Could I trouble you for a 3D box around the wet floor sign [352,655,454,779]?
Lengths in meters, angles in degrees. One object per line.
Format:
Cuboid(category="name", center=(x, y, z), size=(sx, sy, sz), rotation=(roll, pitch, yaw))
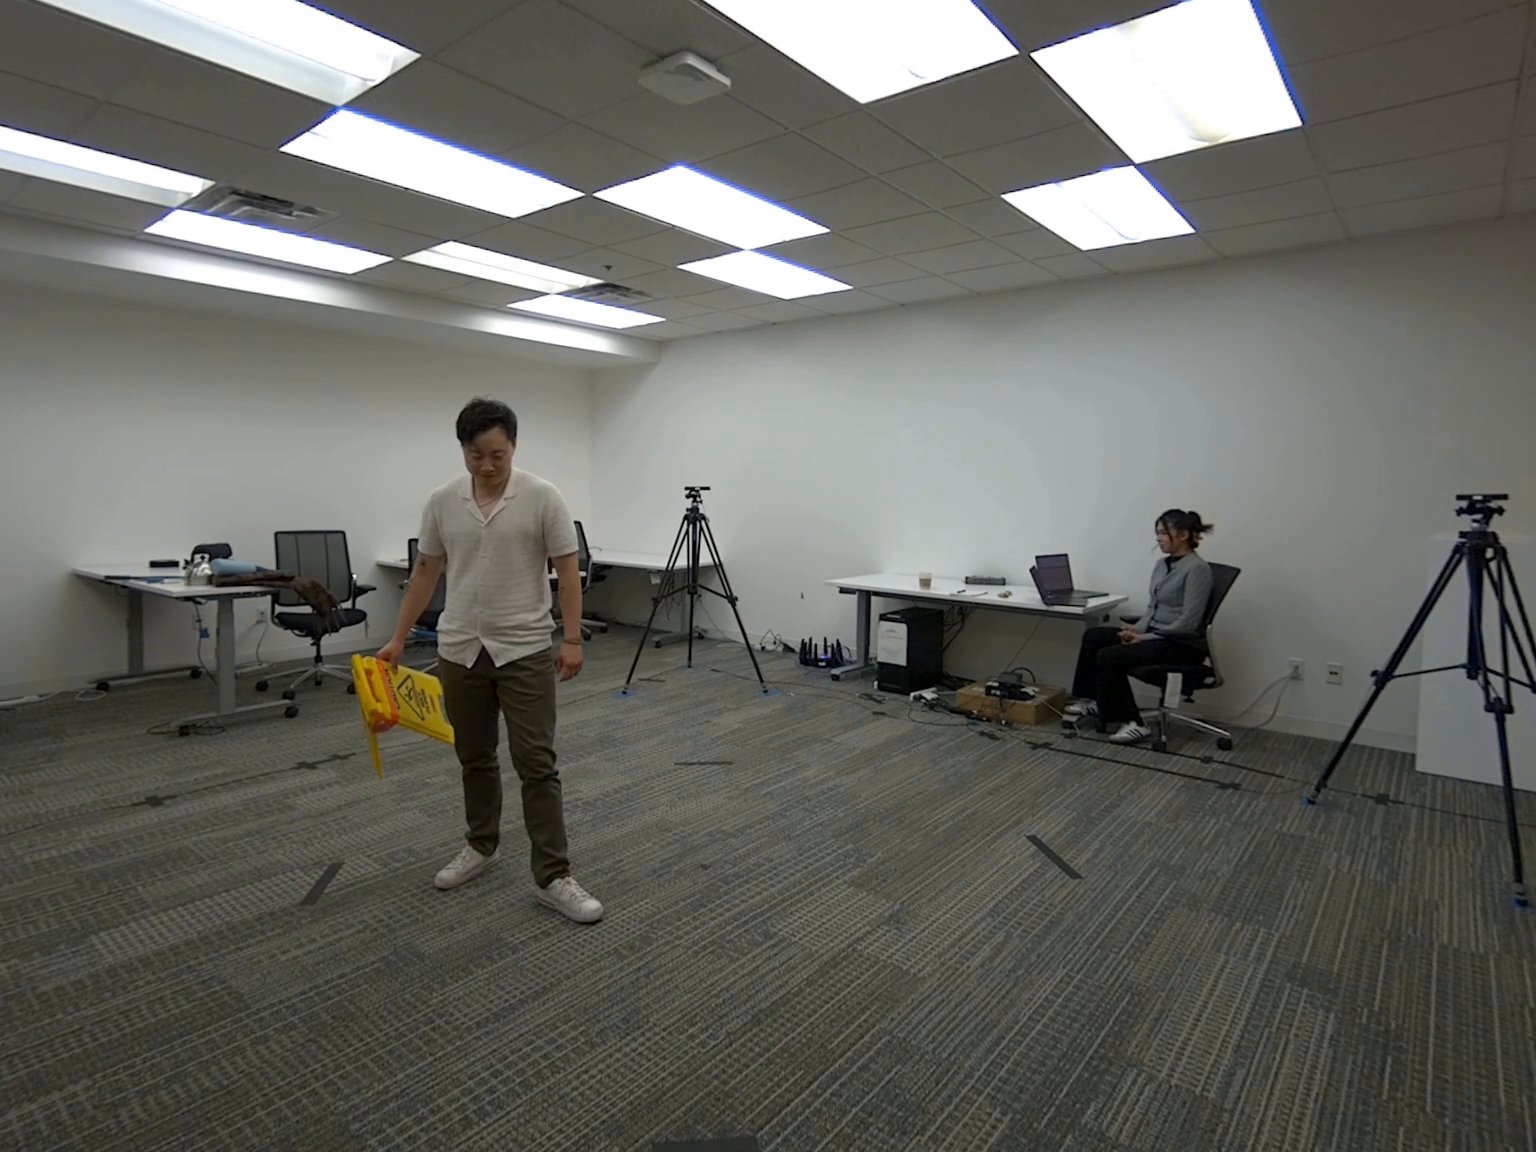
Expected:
Cuboid(category="wet floor sign", center=(-1.309, 0.444, 2.924), size=(0.286, 0.289, 0.637), rotation=(-20, -18, -18))
